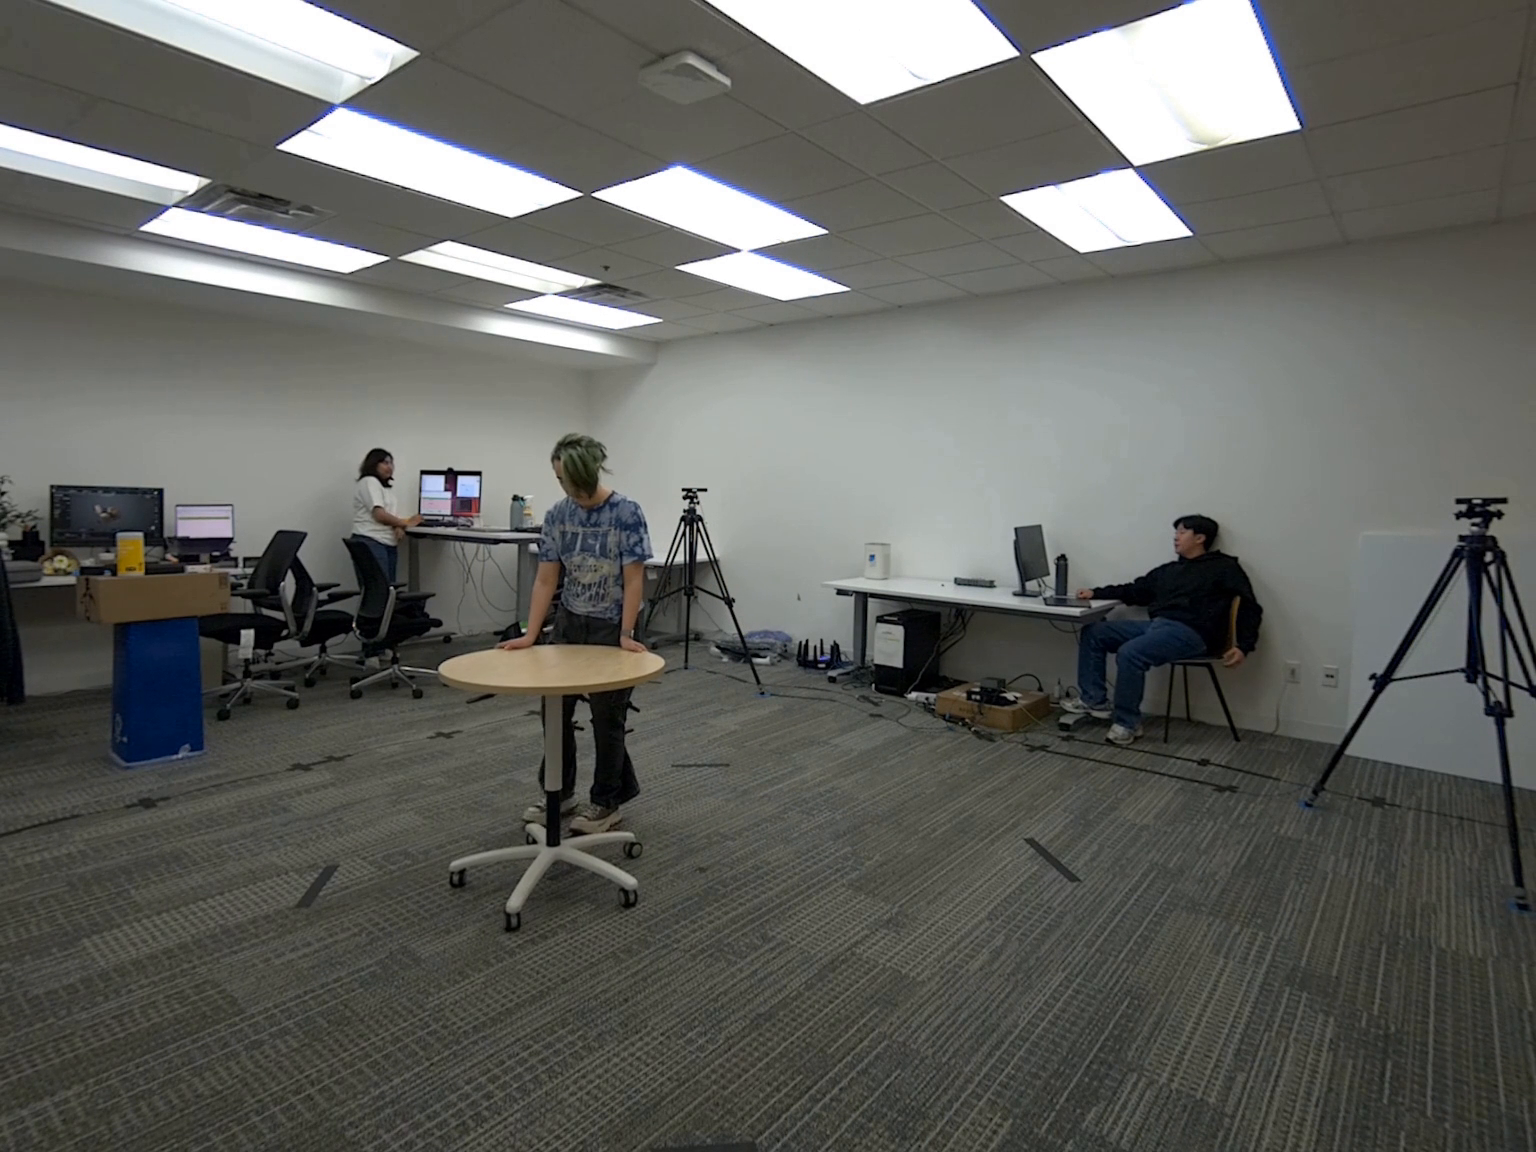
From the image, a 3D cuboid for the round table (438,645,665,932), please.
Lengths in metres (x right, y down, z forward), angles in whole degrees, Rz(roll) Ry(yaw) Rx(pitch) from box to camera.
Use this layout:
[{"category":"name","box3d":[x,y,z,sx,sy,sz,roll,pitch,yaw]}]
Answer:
[{"category":"round table","box3d":[-0.760,0.688,2.955,0.763,0.792,0.767,1,4,-2]}]
